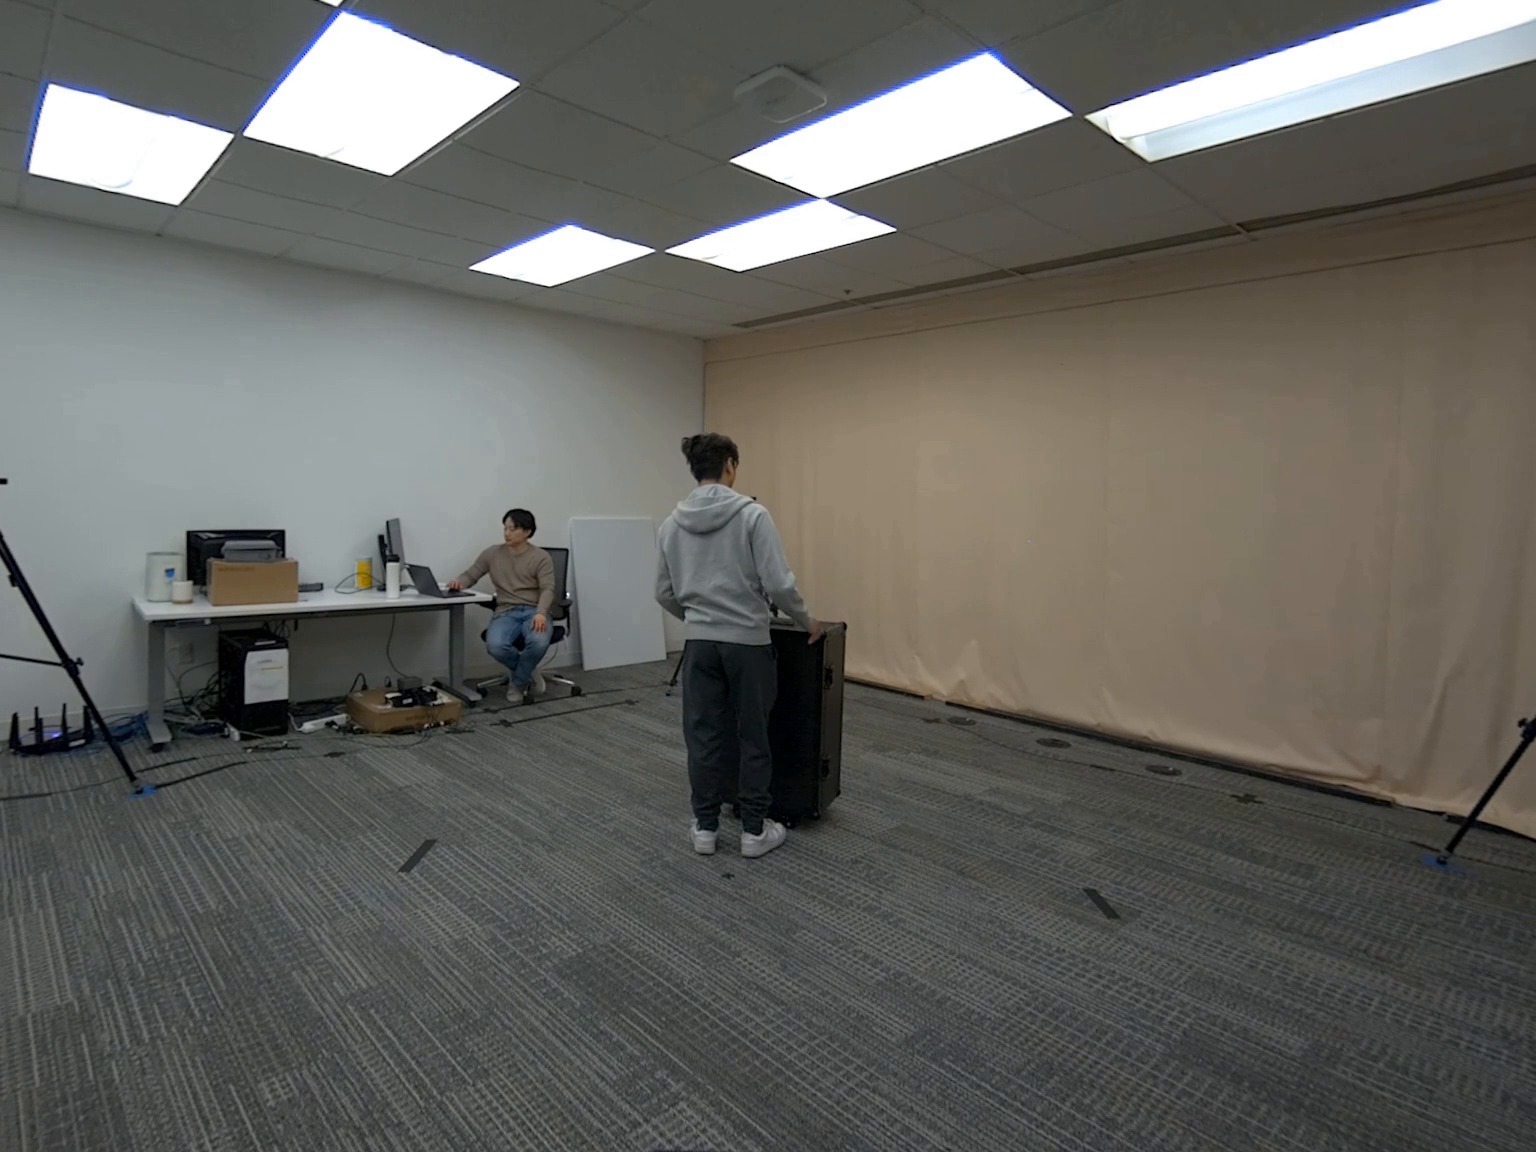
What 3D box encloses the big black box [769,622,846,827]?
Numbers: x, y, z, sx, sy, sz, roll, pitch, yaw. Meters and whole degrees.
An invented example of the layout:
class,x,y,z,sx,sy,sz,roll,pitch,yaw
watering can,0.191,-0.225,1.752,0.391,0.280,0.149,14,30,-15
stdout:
class,x,y,z,sx,sy,sz,roll,pitch,yaw
big black box,0.052,0.628,3.741,0.530,0.860,0.390,3,3,22
